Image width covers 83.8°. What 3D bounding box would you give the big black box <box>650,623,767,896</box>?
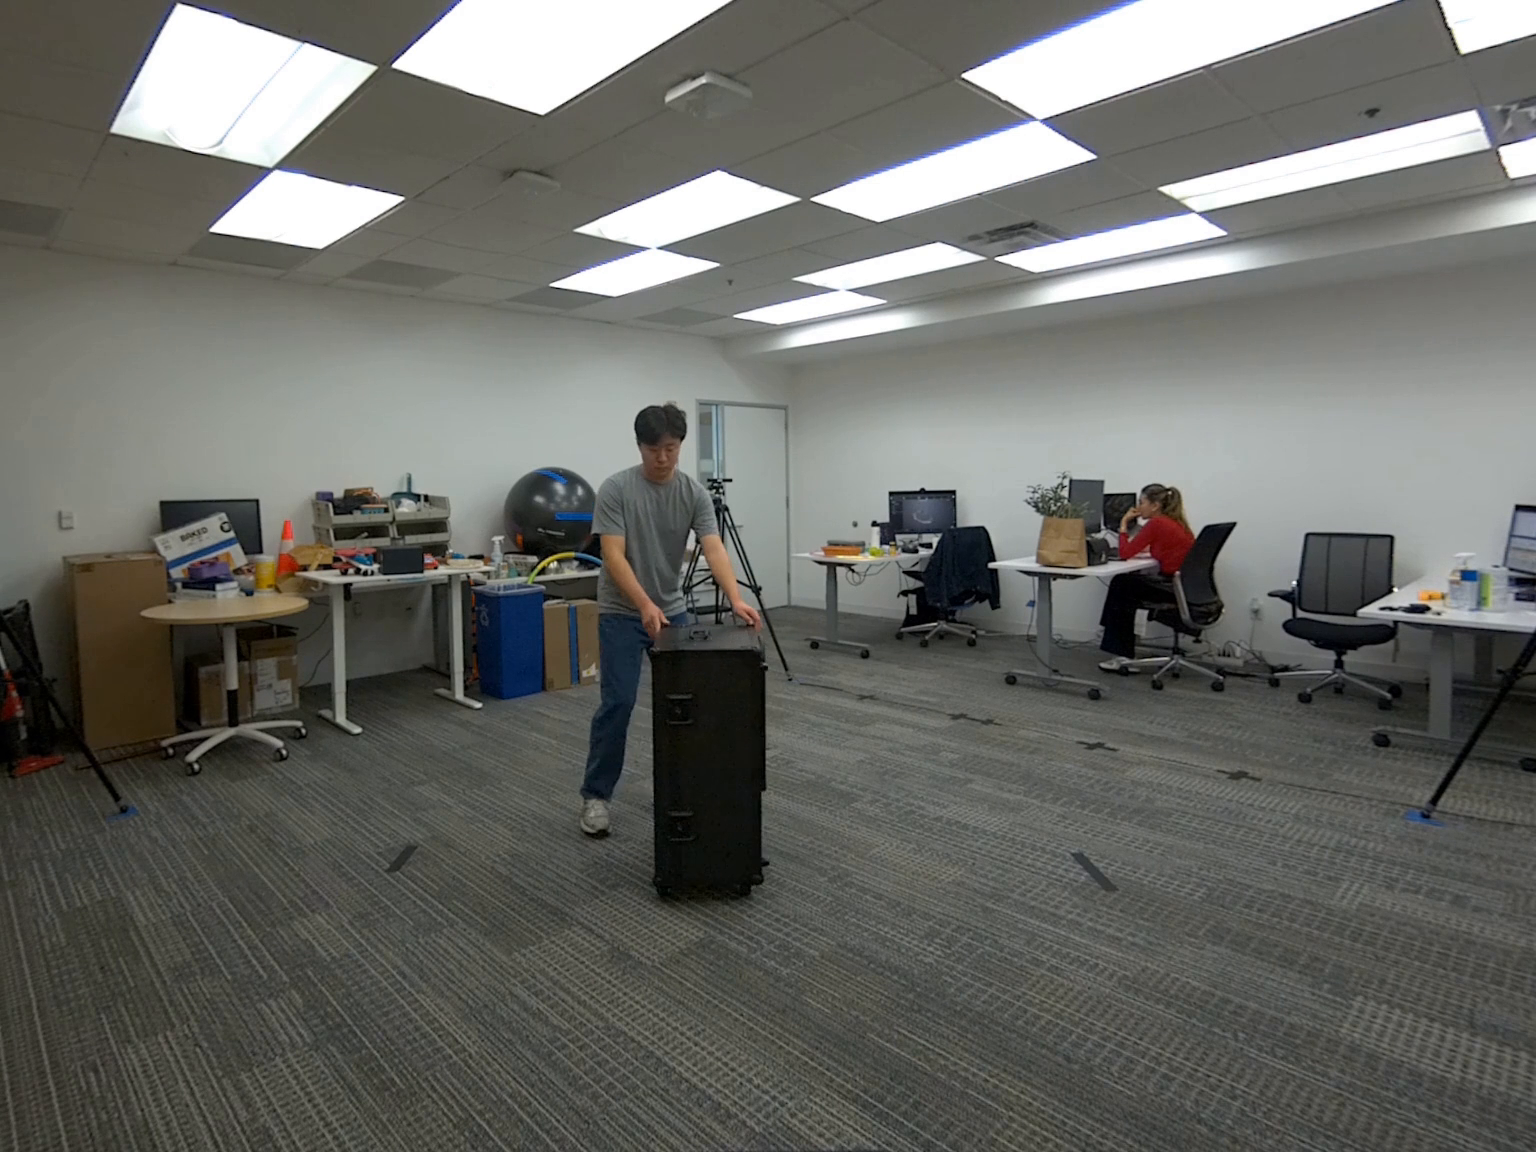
[{"bbox_3d":[-0.196,0.636,3.010,0.395,0.859,0.524,0,4,-3],"label":"big black box"}]
